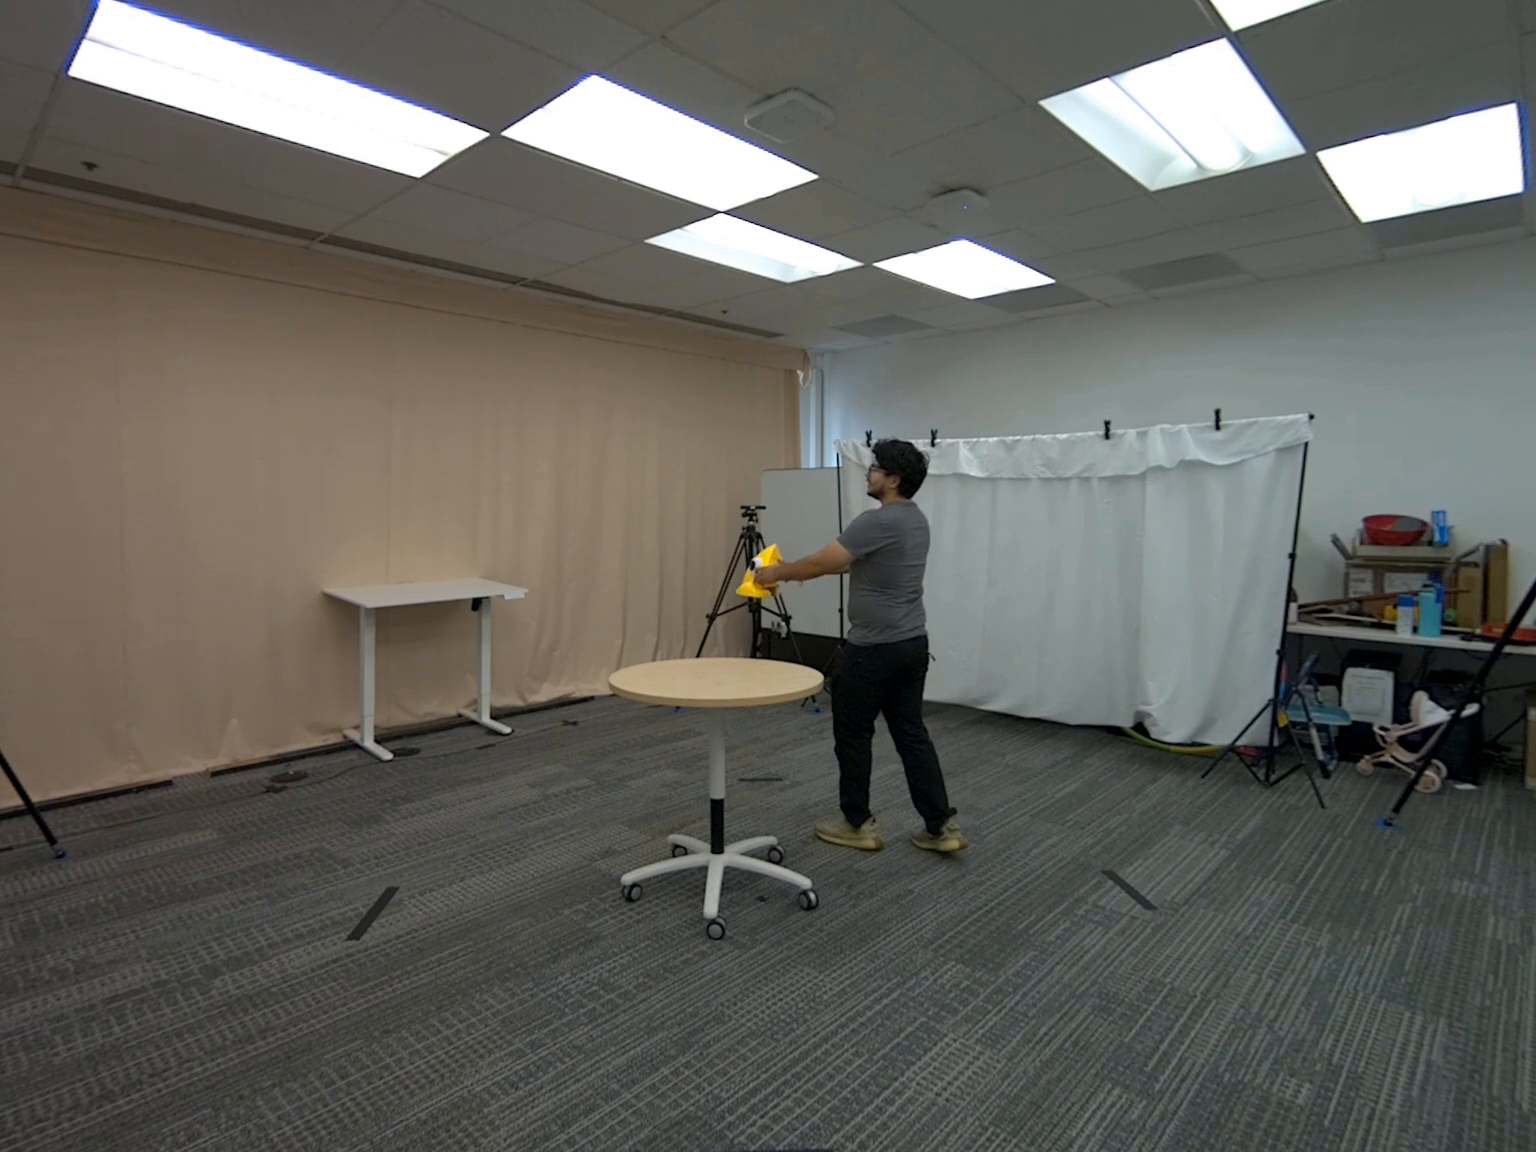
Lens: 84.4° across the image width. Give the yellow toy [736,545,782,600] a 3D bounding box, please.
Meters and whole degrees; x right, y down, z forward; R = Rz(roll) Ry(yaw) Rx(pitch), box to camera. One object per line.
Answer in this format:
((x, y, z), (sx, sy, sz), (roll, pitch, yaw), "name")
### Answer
((-0.026, -0.036, 3.742), (0.199, 0.229, 0.199), (9, 9, 32), "yellow toy")
